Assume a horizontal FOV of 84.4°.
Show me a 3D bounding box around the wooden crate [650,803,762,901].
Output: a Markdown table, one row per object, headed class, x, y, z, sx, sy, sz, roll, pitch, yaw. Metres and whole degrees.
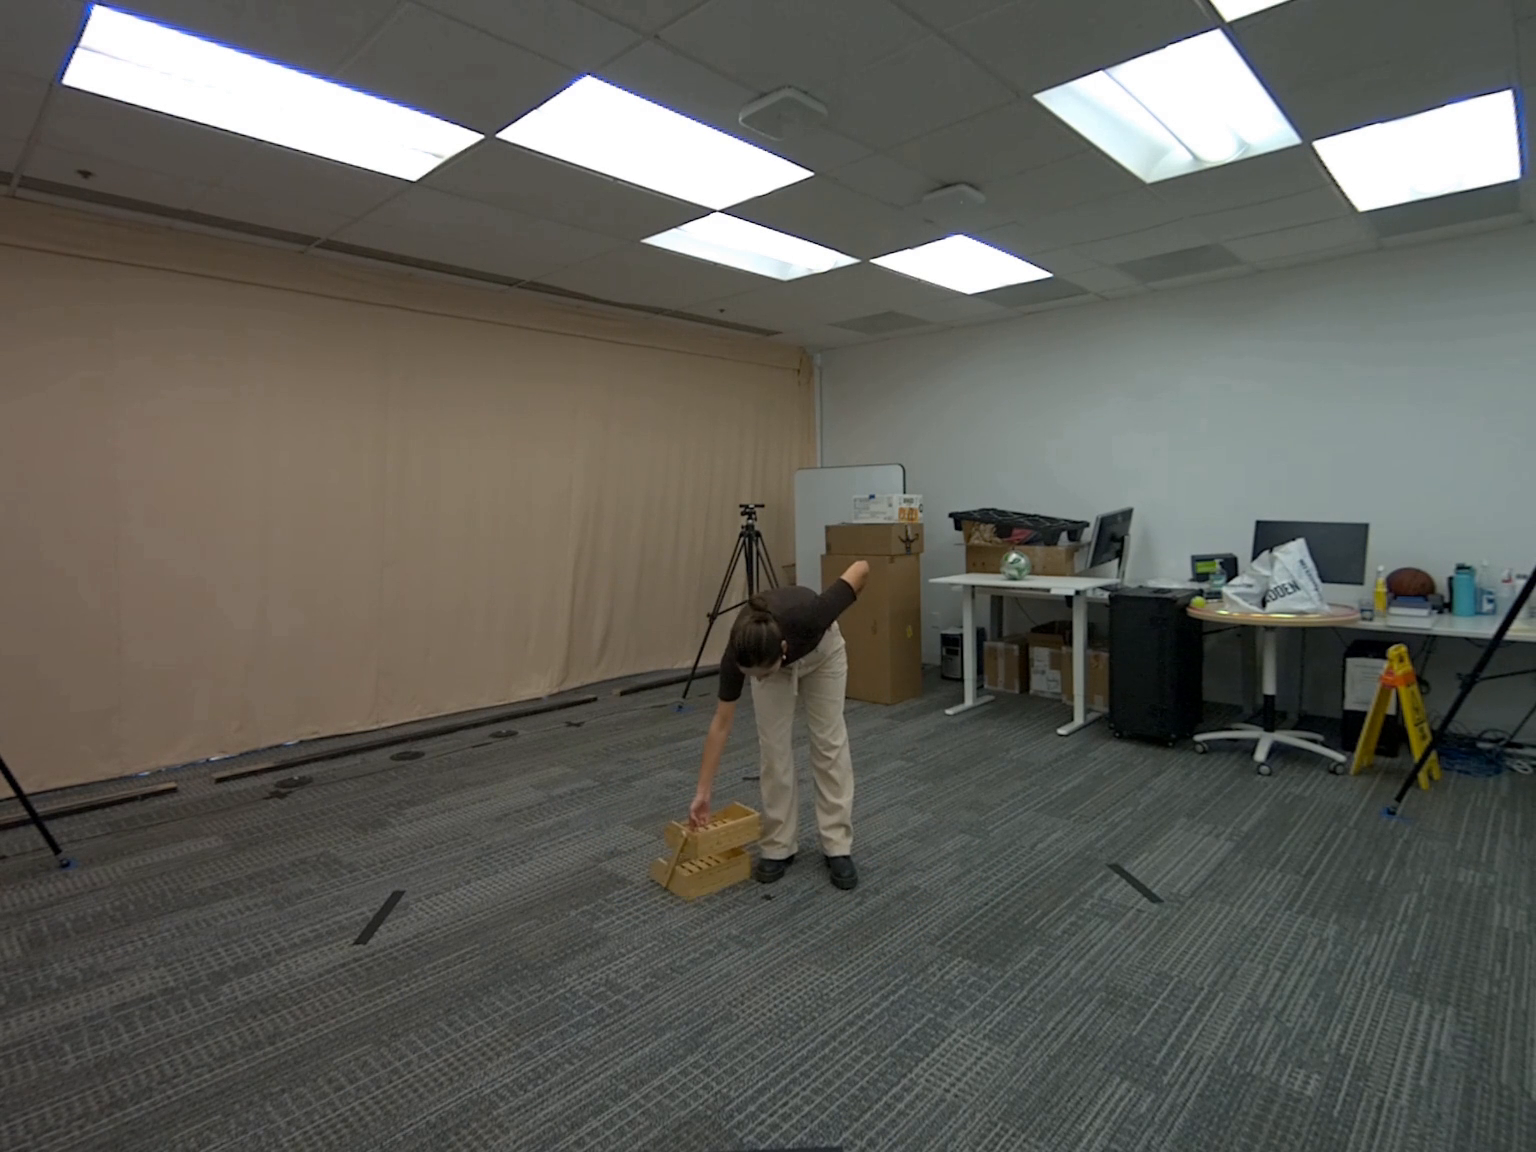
| class | x | y | z | sx | sy | sz | roll | pitch | yaw |
| --- | --- | --- | --- | --- | --- | --- | --- | --- | --- |
| wooden crate | -0.237 | 0.996 | 3.119 | 0.315 | 0.272 | 0.312 | -5 | 8 | -40 |
